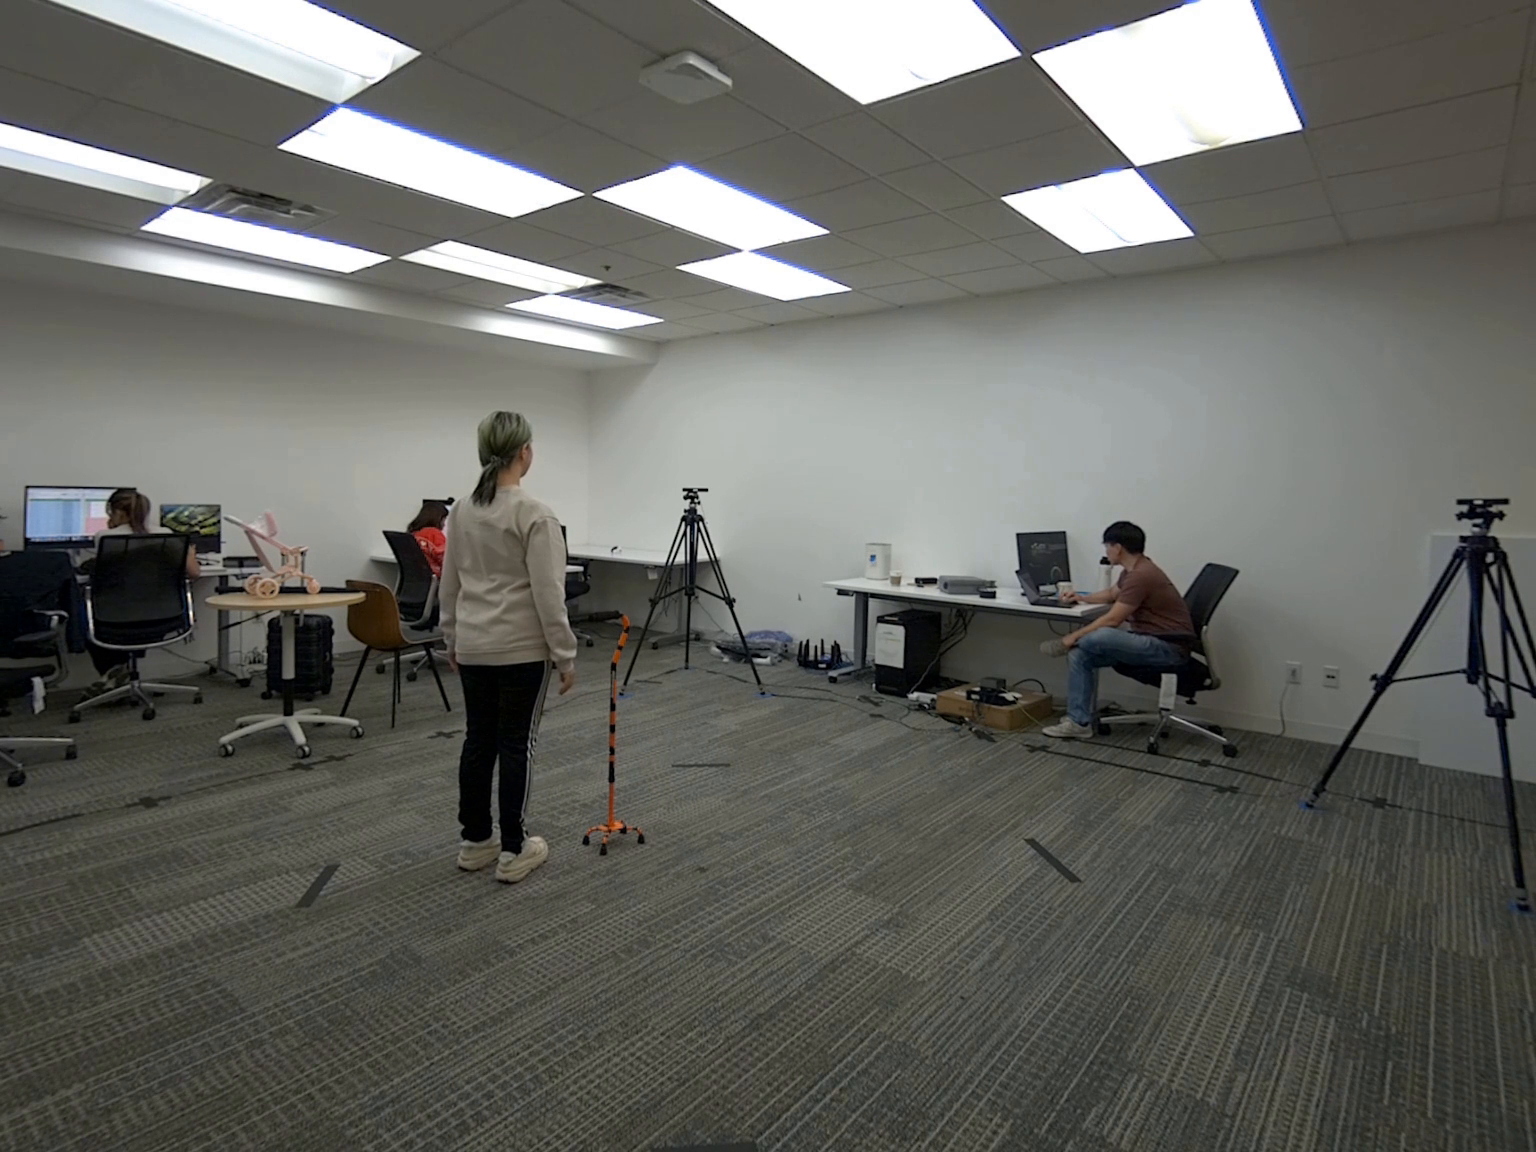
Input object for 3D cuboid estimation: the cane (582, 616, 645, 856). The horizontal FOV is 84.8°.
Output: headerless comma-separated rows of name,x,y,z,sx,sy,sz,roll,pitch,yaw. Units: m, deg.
cane,-0.603,0.589,3.309,0.200,0.906,0.157,1,2,-42
